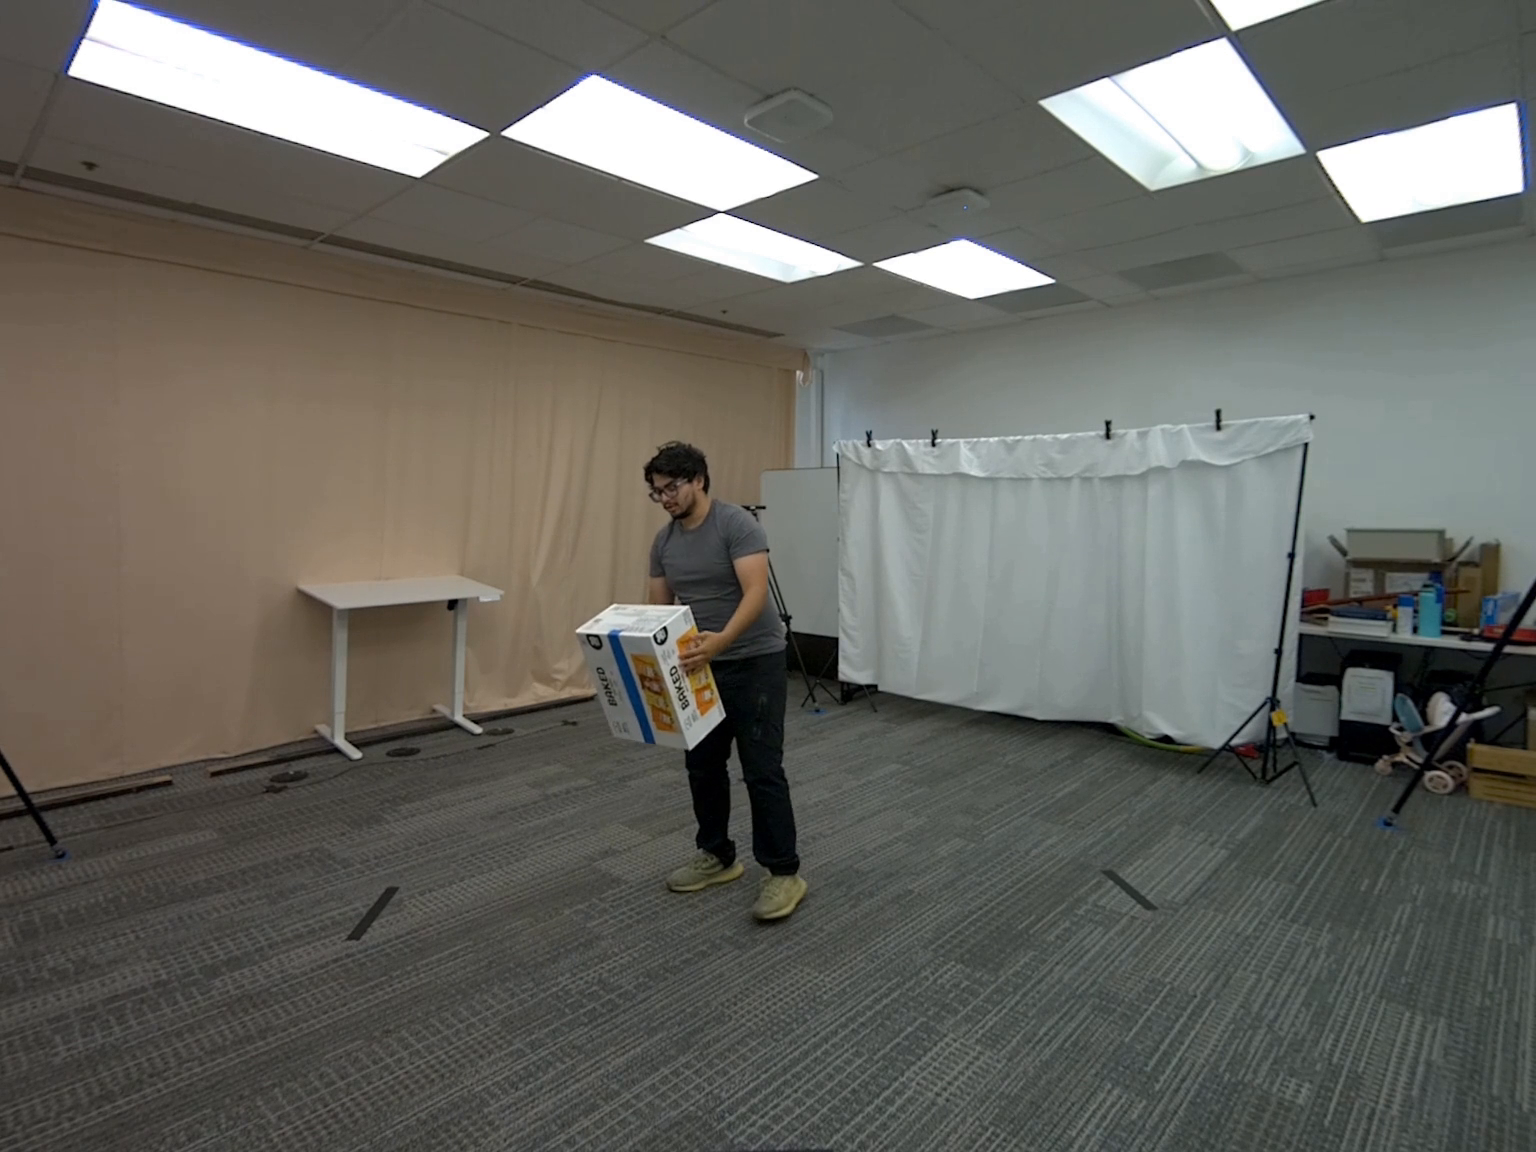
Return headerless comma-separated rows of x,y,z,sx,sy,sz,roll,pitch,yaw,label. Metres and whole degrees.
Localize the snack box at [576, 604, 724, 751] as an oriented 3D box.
-0.374,0.319,2.727,0.351,0.399,0.202,-1,22,38,snack box
